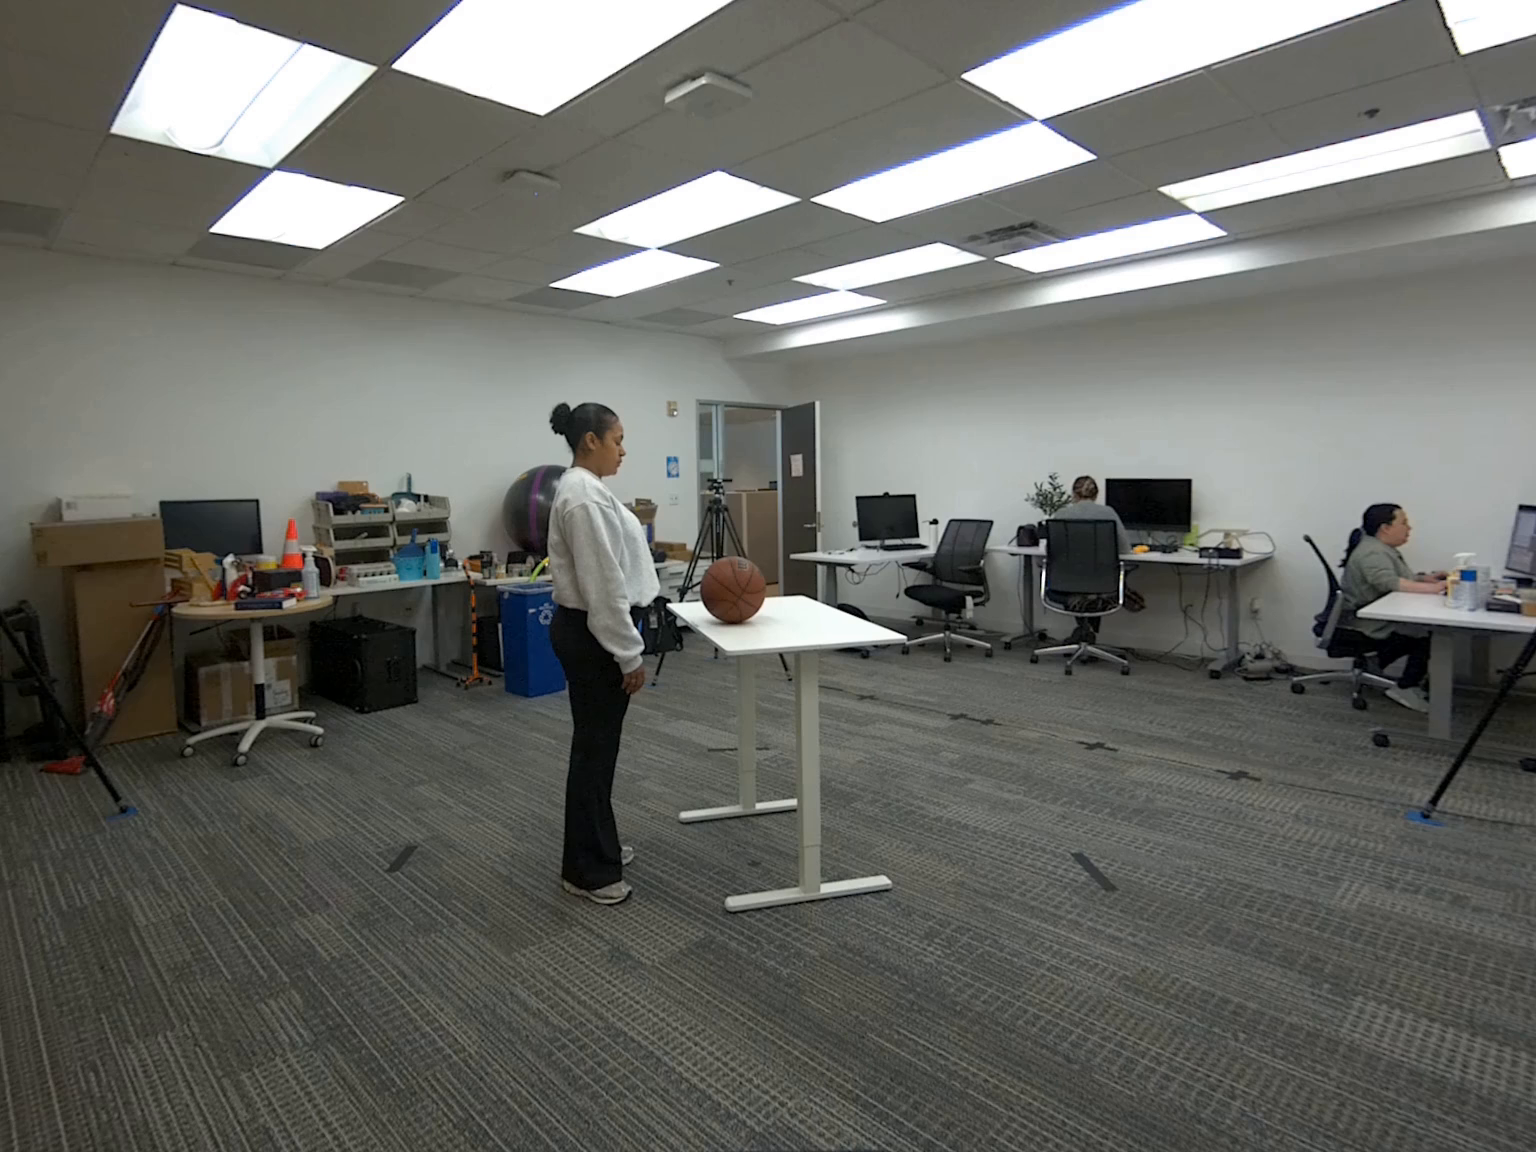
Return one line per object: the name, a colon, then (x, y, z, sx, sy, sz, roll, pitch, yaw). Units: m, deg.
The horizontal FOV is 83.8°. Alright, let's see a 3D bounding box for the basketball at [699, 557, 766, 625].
basketball: (-0.130, 0.049, 3.074, 0.236, 0.235, 0.237, -1, 5, -2)
